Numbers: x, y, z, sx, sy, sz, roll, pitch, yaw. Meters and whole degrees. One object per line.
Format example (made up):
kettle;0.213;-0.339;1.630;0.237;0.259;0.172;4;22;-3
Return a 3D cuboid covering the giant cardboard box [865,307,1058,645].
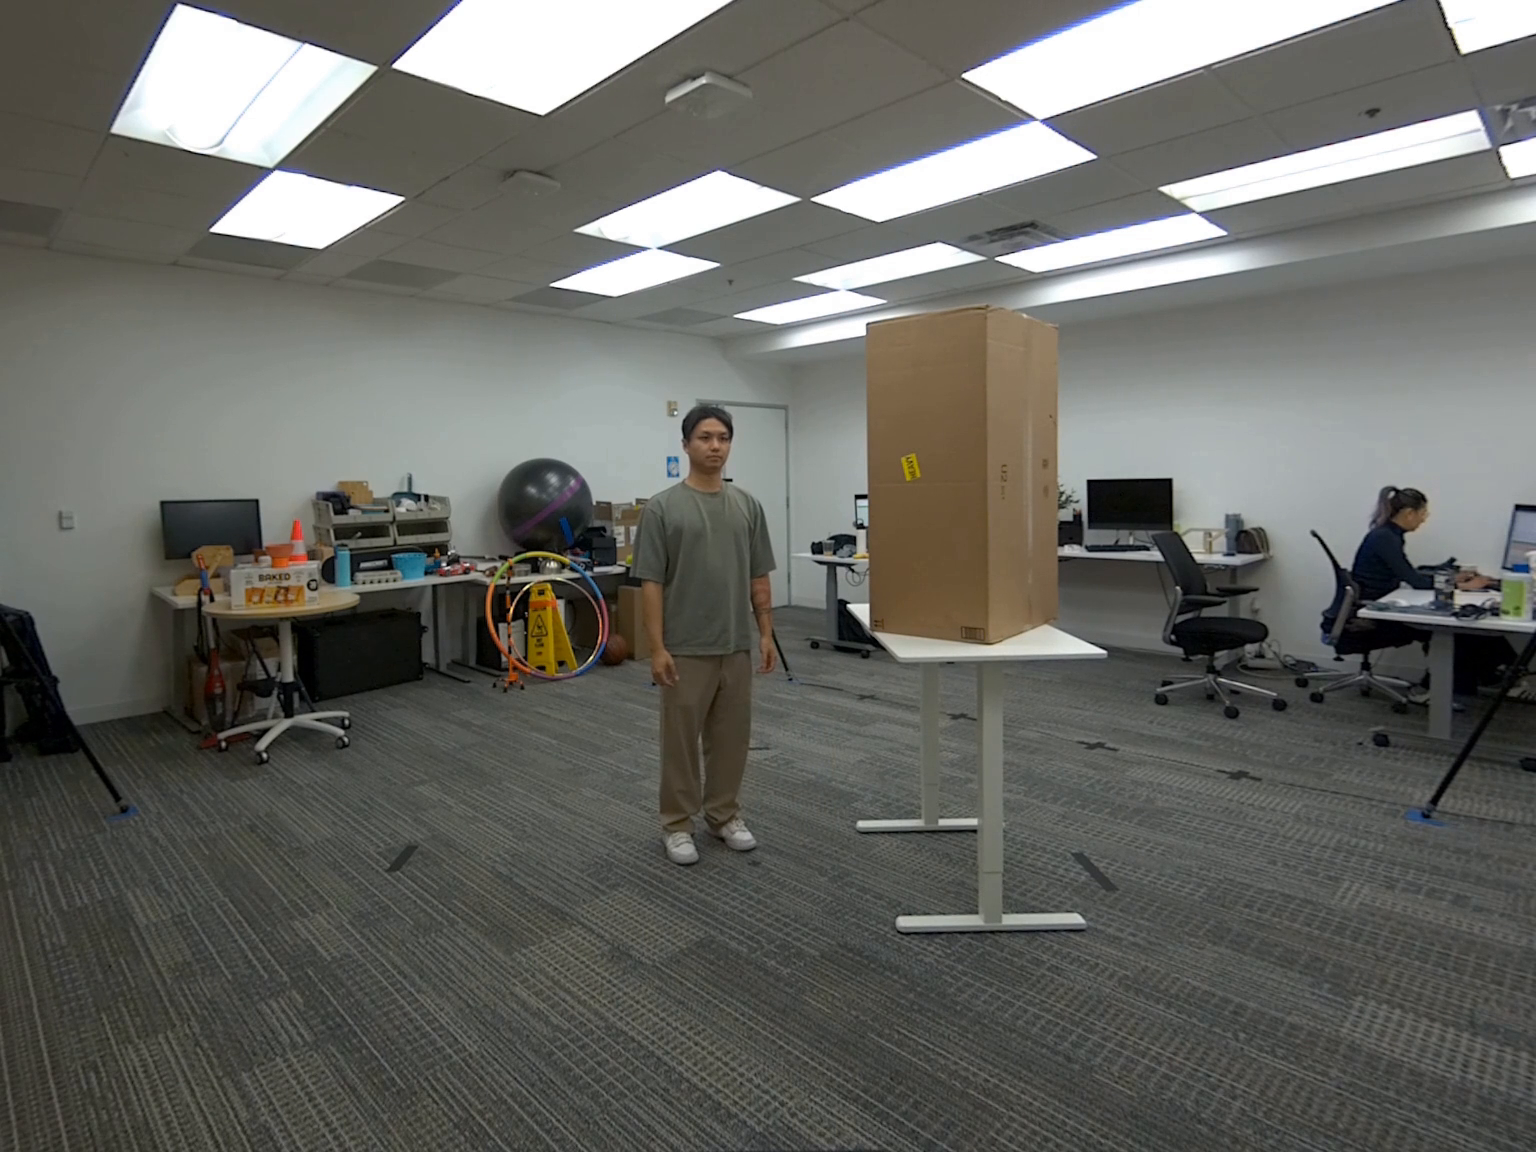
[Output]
giant cardboard box;0.672;-0.337;2.902;0.439;1.022;0.563;2;5;40
